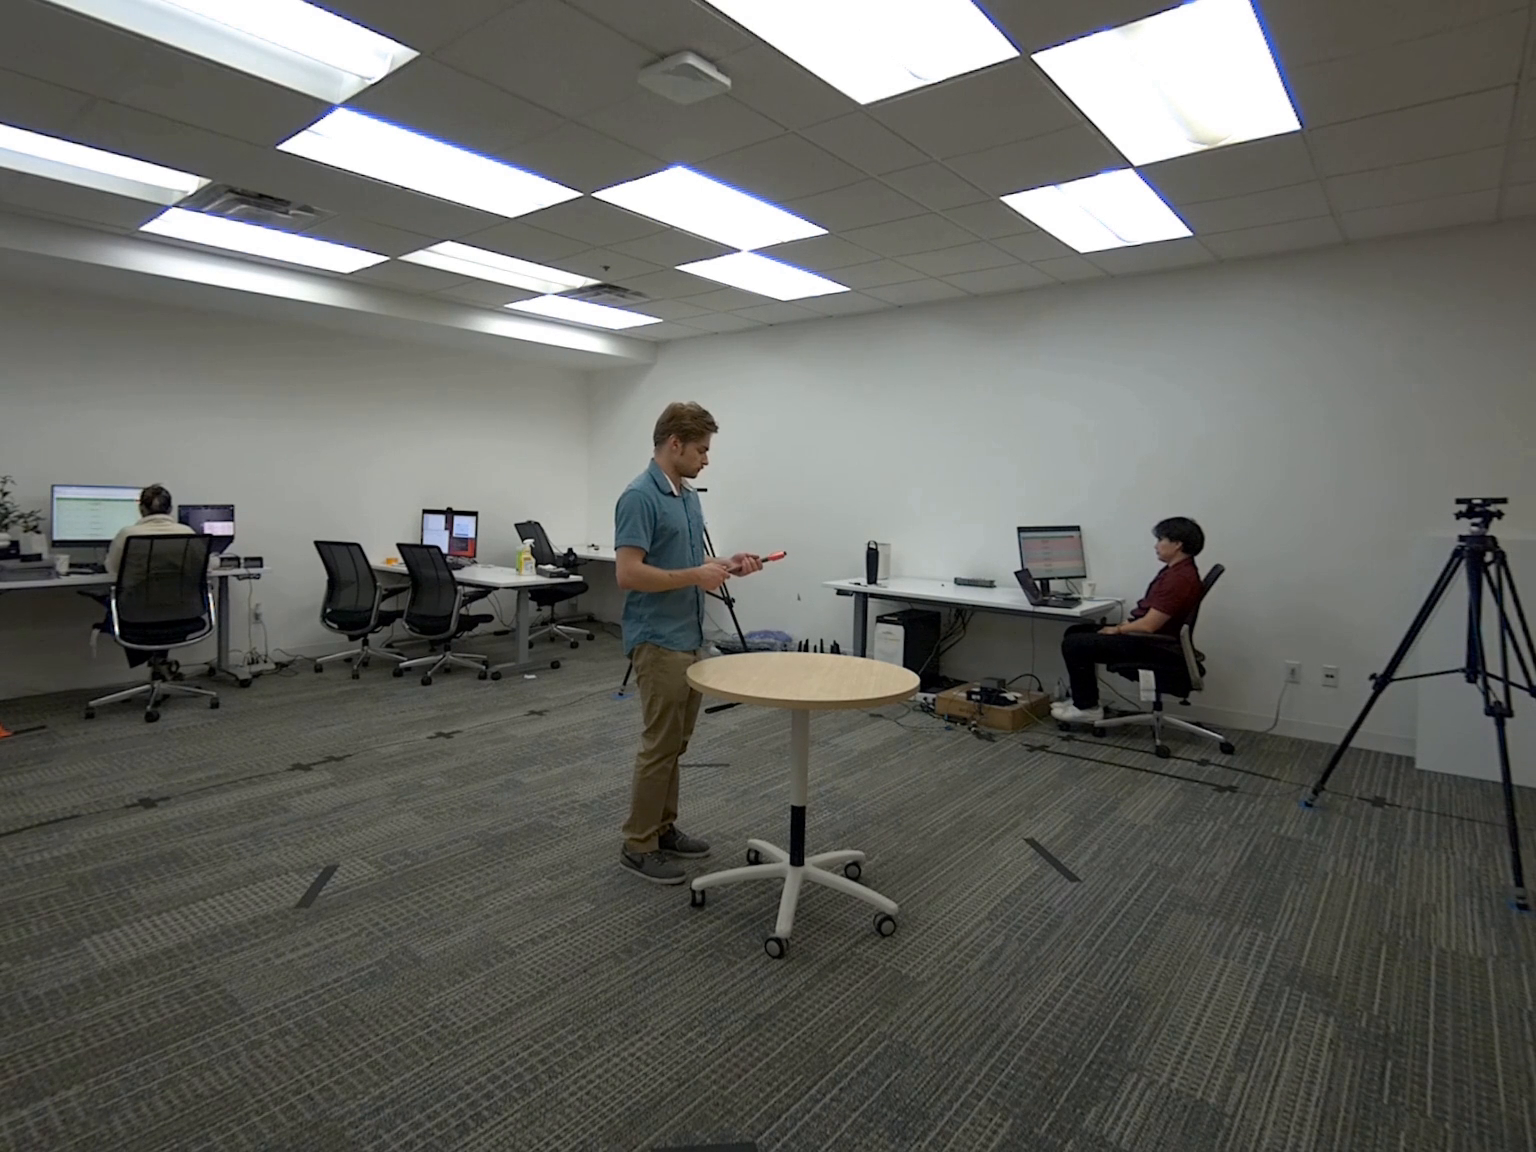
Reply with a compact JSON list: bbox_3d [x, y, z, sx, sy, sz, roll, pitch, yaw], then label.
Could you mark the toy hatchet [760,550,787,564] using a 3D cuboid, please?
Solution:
[{"bbox_3d":[-0.063,-0.052,3.079,0.264,0.029,0.134,-14,3,-29],"label":"toy hatchet"}]
